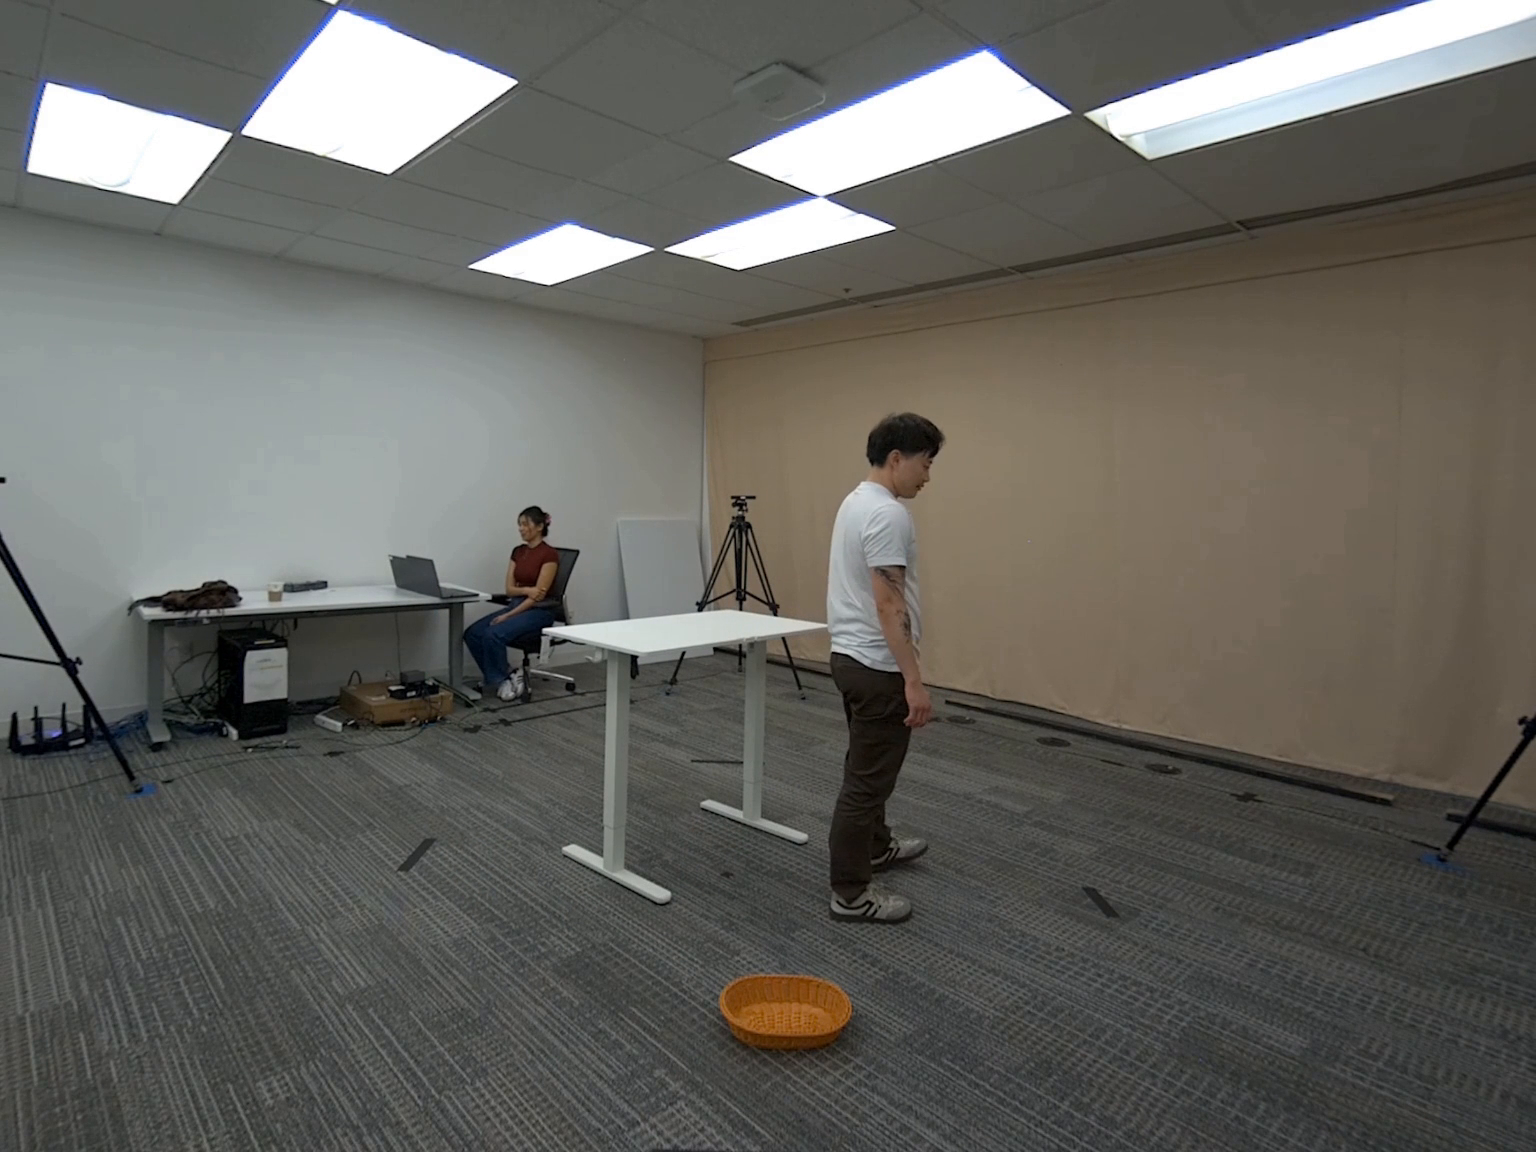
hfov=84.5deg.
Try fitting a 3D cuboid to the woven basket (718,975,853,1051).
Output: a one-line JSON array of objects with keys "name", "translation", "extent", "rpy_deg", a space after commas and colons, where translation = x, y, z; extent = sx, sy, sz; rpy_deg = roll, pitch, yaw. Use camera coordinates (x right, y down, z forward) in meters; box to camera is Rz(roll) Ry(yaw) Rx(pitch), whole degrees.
[{"name": "woven basket", "translation": [0.038, 1.153, 2.210], "extent": [0.351, 0.073, 0.253], "rpy_deg": [2, 6, 2]}]
